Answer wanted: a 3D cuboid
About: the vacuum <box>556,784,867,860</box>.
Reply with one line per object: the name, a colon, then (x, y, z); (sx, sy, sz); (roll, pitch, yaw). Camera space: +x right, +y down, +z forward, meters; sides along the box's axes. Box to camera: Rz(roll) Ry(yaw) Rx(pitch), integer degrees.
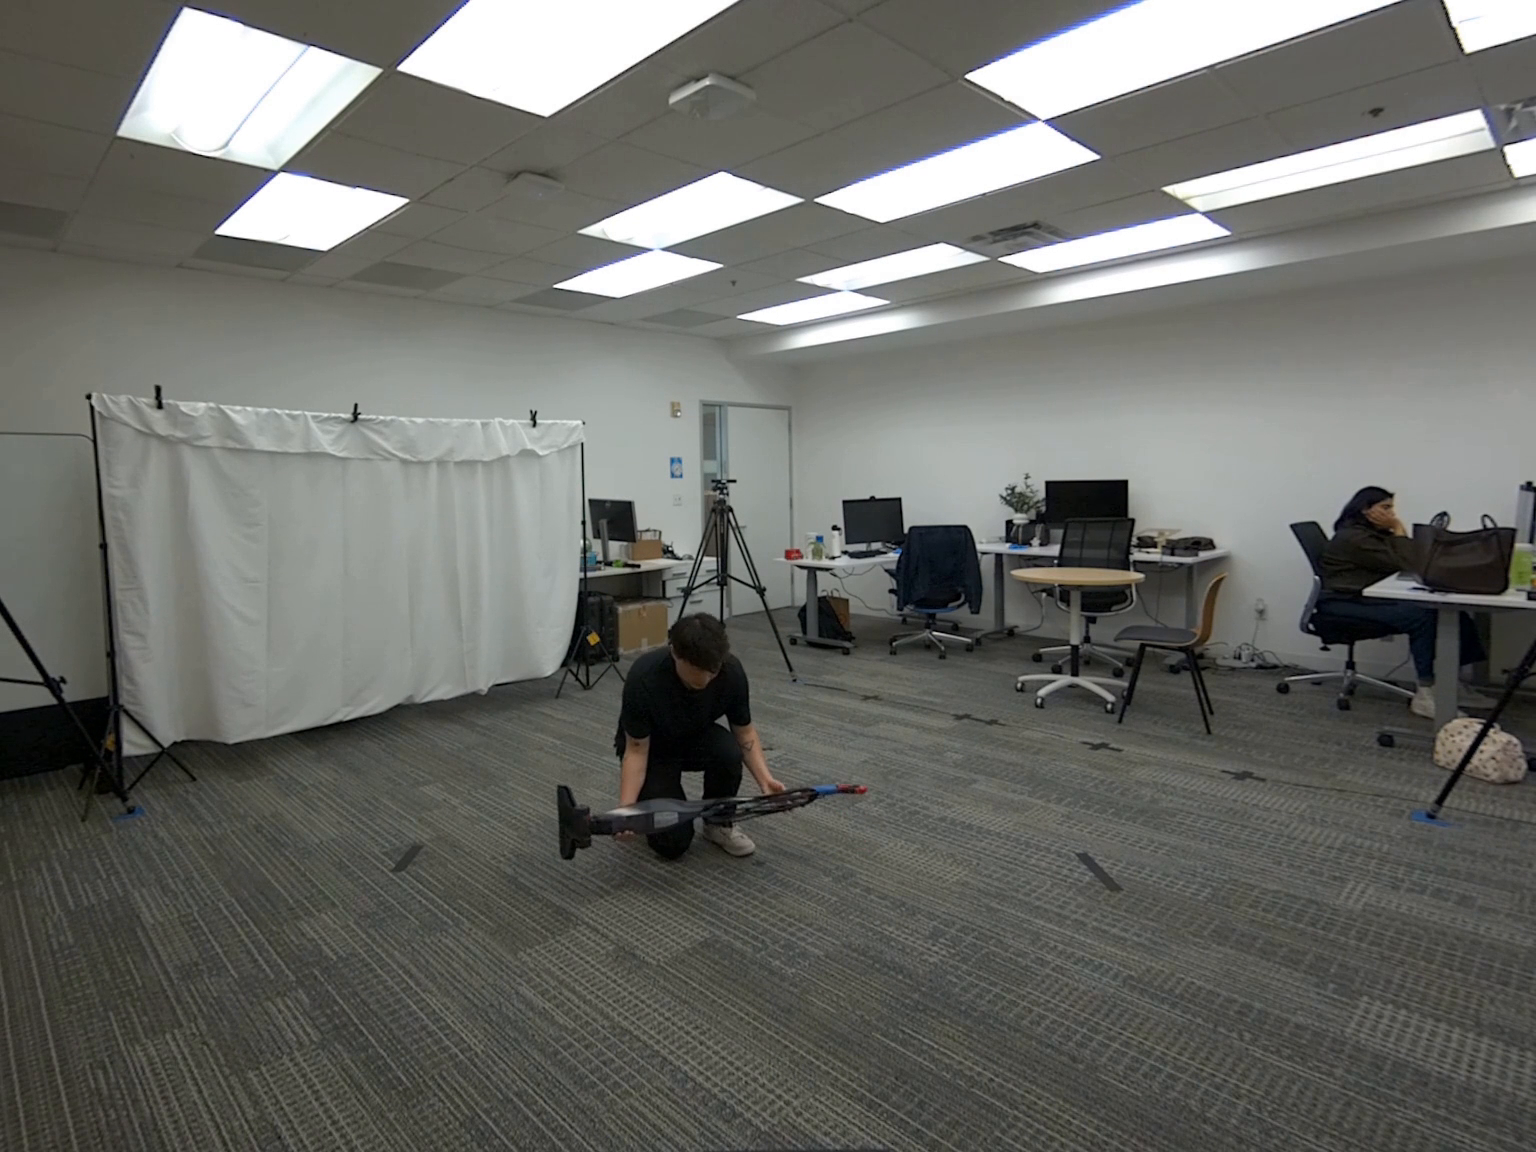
vacuum: (-0.171, 0.811, 2.998); (1.037, 0.252, 0.145); (-4, 0, -12)
